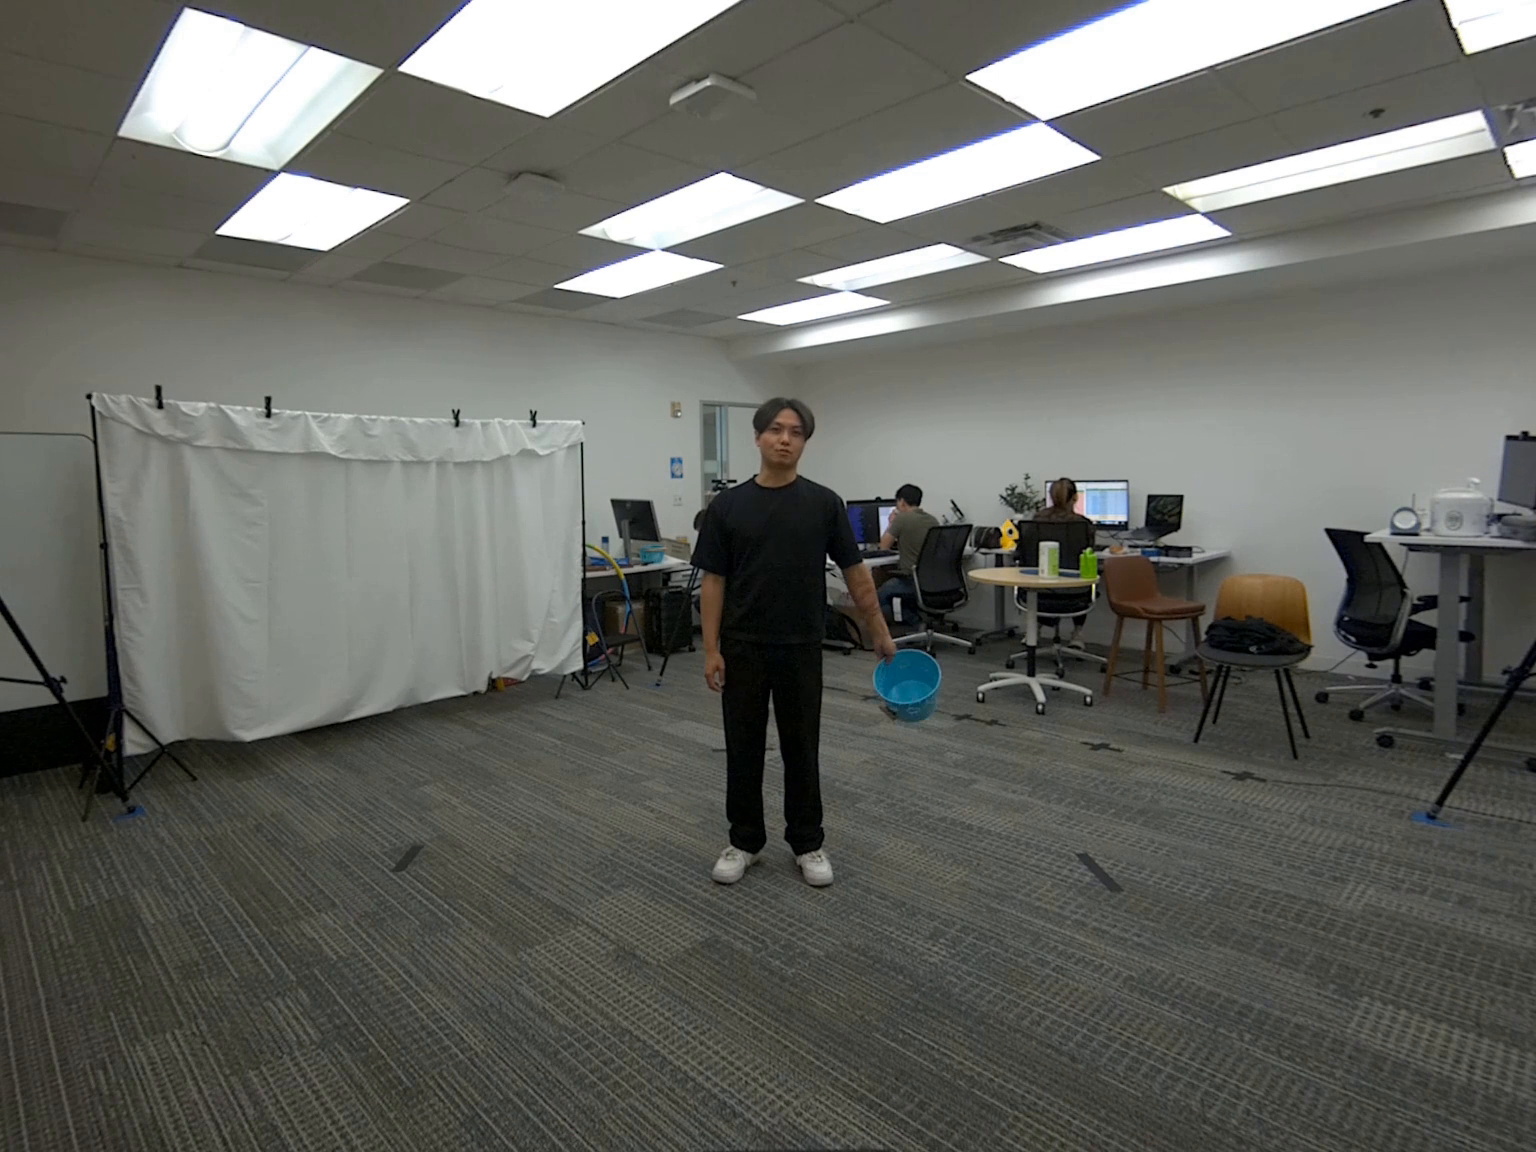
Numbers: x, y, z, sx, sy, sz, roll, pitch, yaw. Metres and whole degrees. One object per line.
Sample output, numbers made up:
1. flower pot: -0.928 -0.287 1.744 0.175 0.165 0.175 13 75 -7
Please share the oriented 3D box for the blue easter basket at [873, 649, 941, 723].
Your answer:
1. blue easter basket: 0.484 0.398 3.006 0.245 0.150 0.250 -12 43 10
